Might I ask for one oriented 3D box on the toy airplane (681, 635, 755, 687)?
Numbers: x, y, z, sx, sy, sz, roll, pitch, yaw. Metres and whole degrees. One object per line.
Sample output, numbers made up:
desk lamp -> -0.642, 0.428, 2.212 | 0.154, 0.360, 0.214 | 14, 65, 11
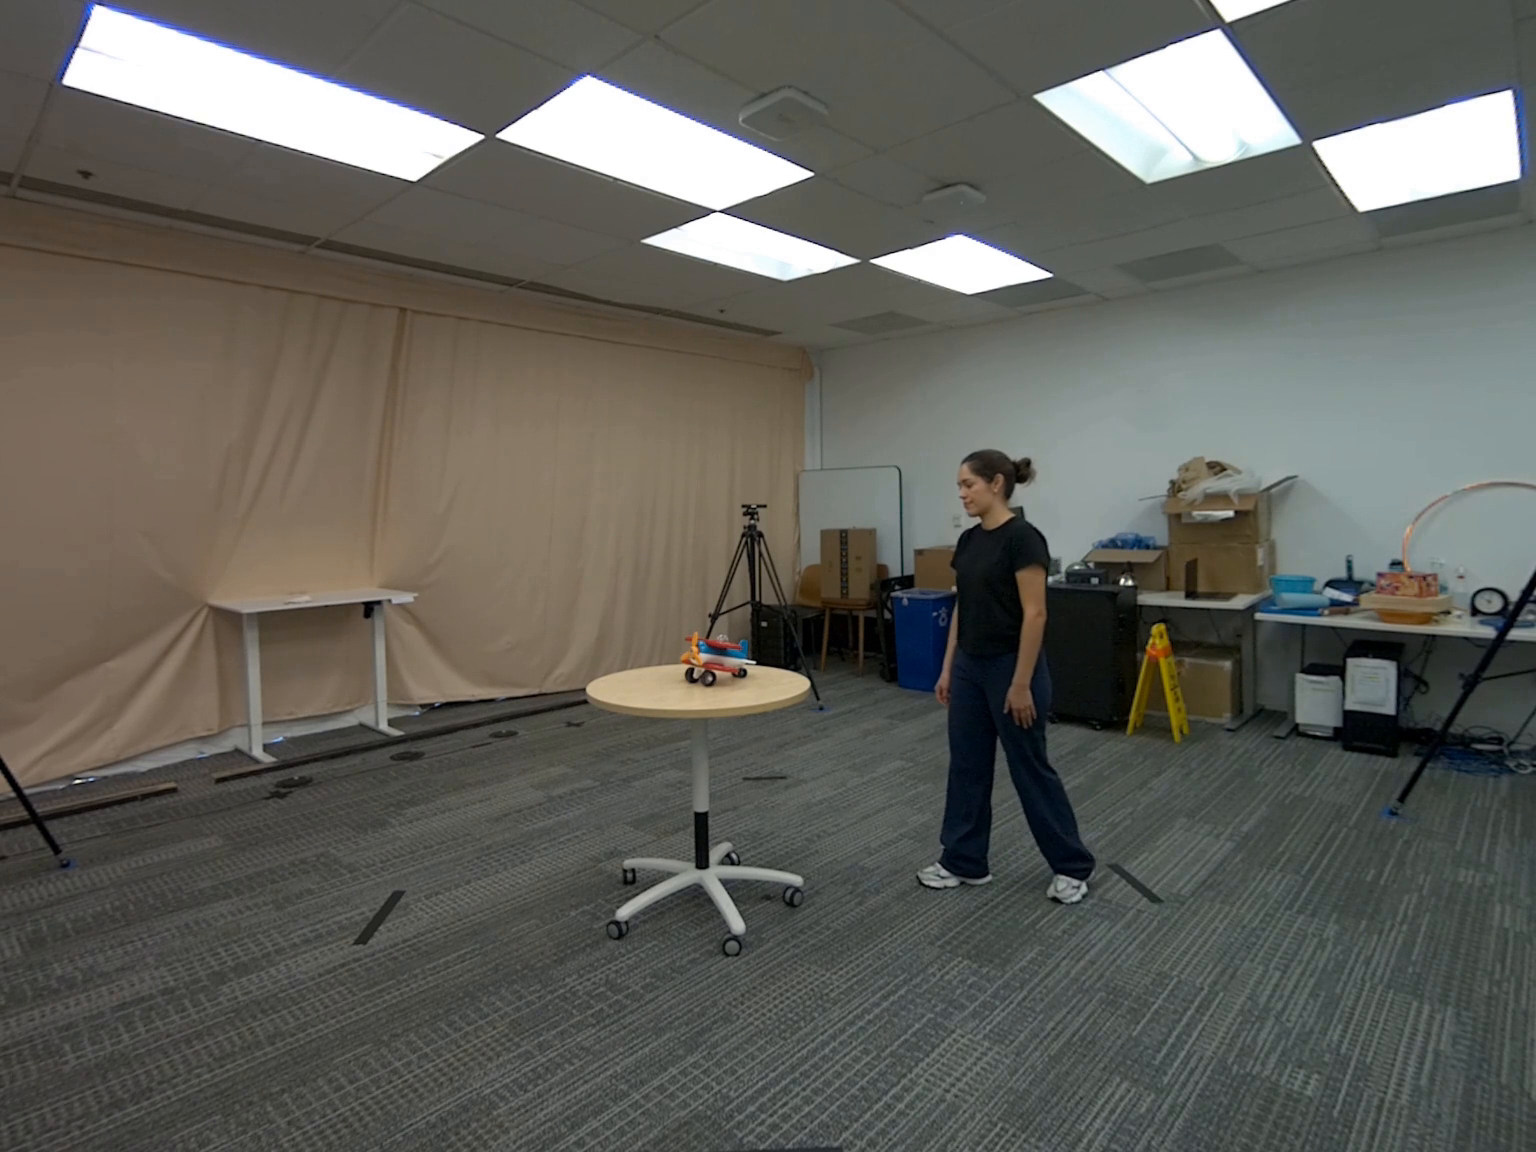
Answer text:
toy airplane -> -0.166, 0.290, 2.945 | 0.256, 0.156, 0.254 | 1, 5, 20
